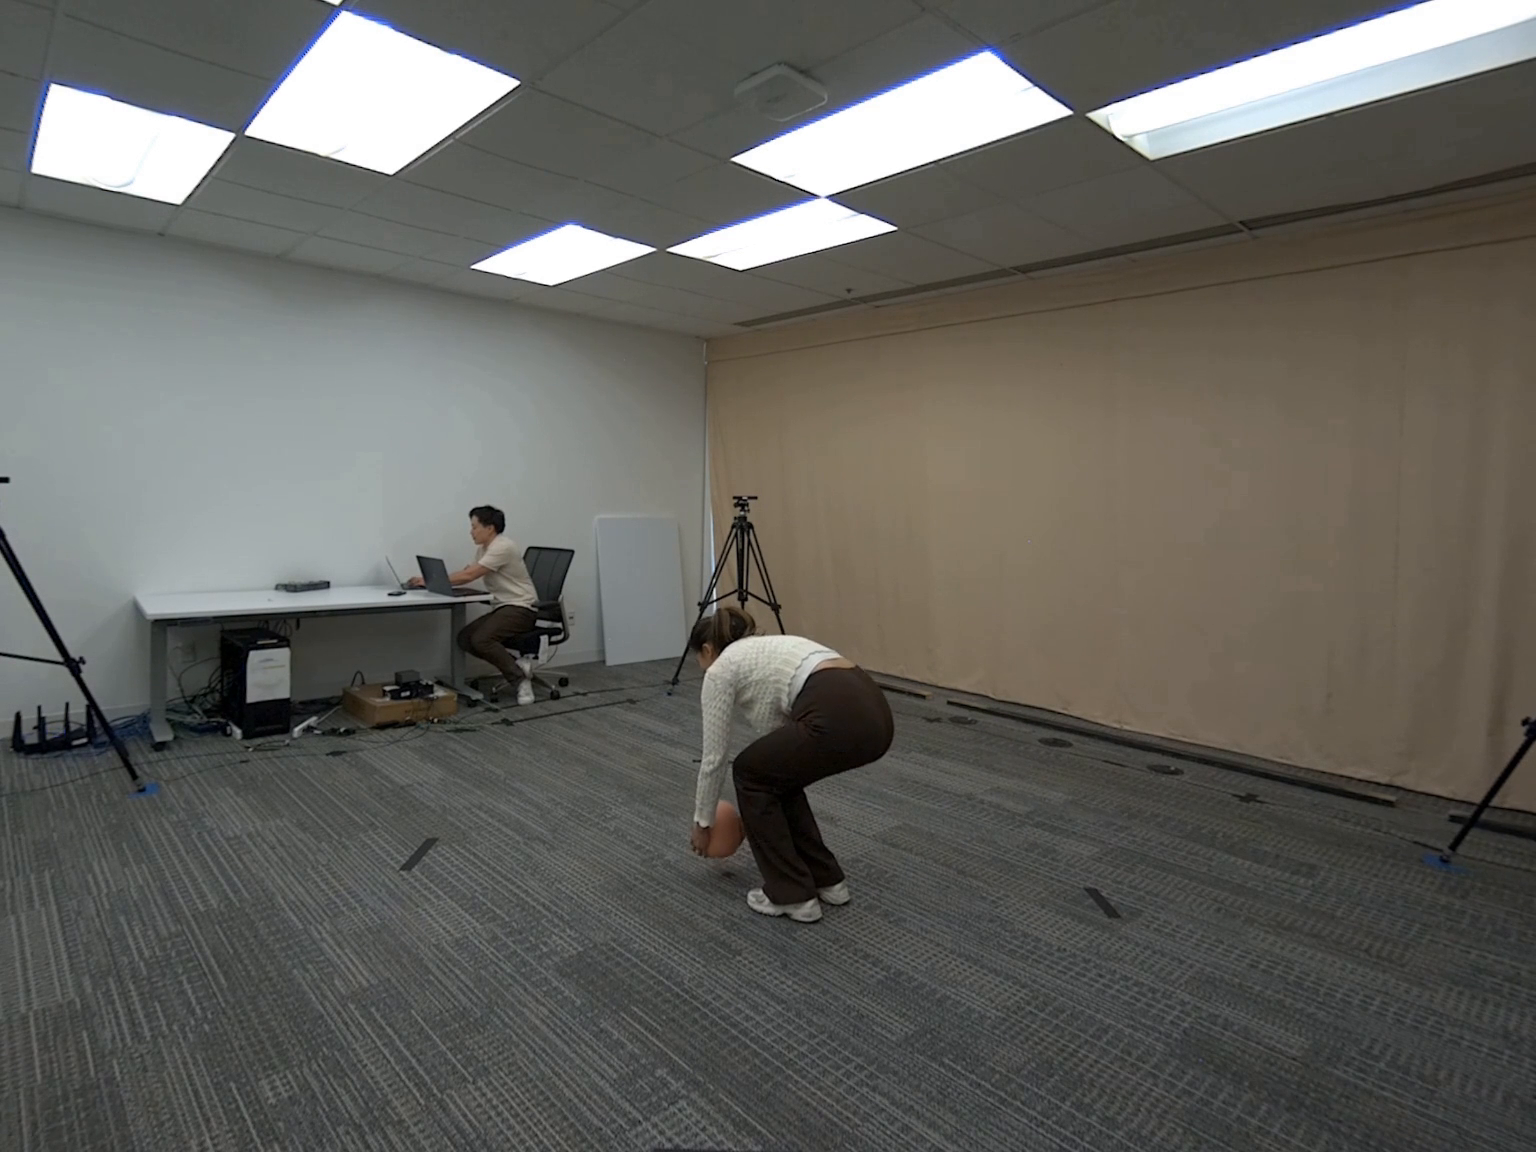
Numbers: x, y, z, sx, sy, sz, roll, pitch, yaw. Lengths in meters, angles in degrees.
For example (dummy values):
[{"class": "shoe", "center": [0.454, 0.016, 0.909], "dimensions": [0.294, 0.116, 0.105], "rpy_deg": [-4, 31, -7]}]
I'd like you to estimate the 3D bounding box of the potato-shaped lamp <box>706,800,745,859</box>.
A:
[{"class": "potato-shaped lamp", "center": [-0.185, 0.912, 3.083], "dimensions": [0.162, 0.197, 0.175], "rpy_deg": [2, 6, -22]}]
